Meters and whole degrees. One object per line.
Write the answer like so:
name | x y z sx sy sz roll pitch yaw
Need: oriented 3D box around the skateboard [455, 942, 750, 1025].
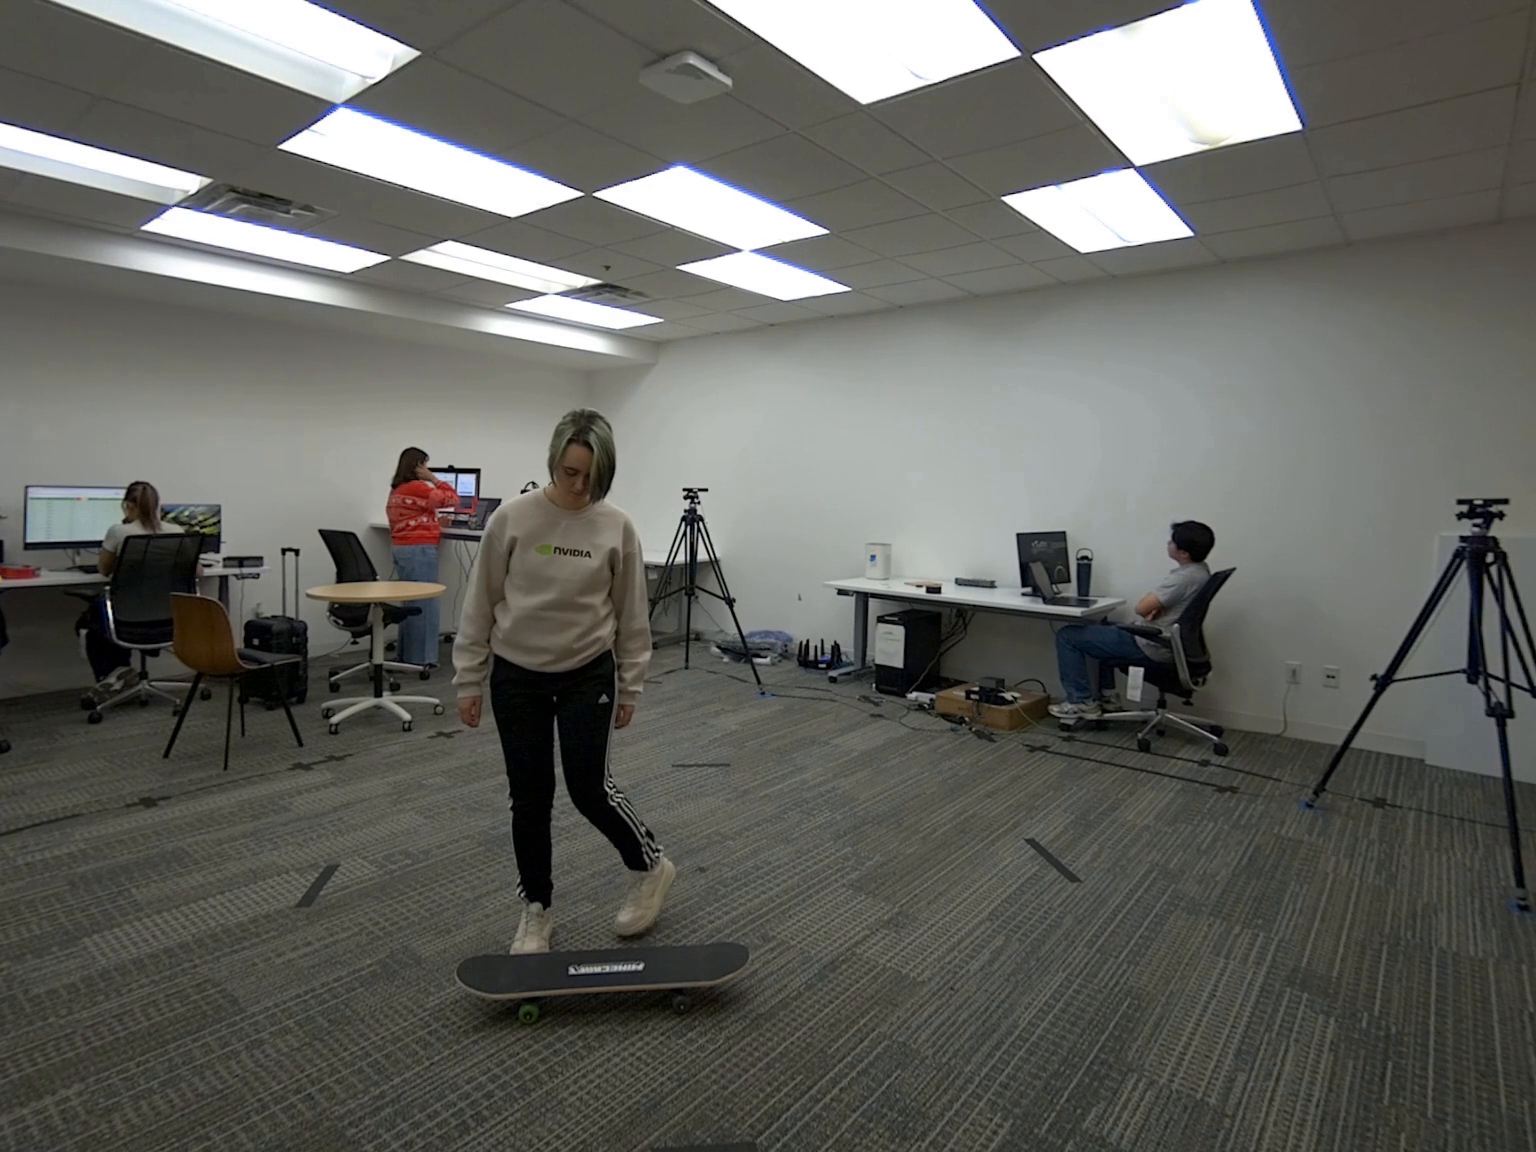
skateboard | -0.439 1.086 2.303 0.779 0.110 0.196 0 7 -8
